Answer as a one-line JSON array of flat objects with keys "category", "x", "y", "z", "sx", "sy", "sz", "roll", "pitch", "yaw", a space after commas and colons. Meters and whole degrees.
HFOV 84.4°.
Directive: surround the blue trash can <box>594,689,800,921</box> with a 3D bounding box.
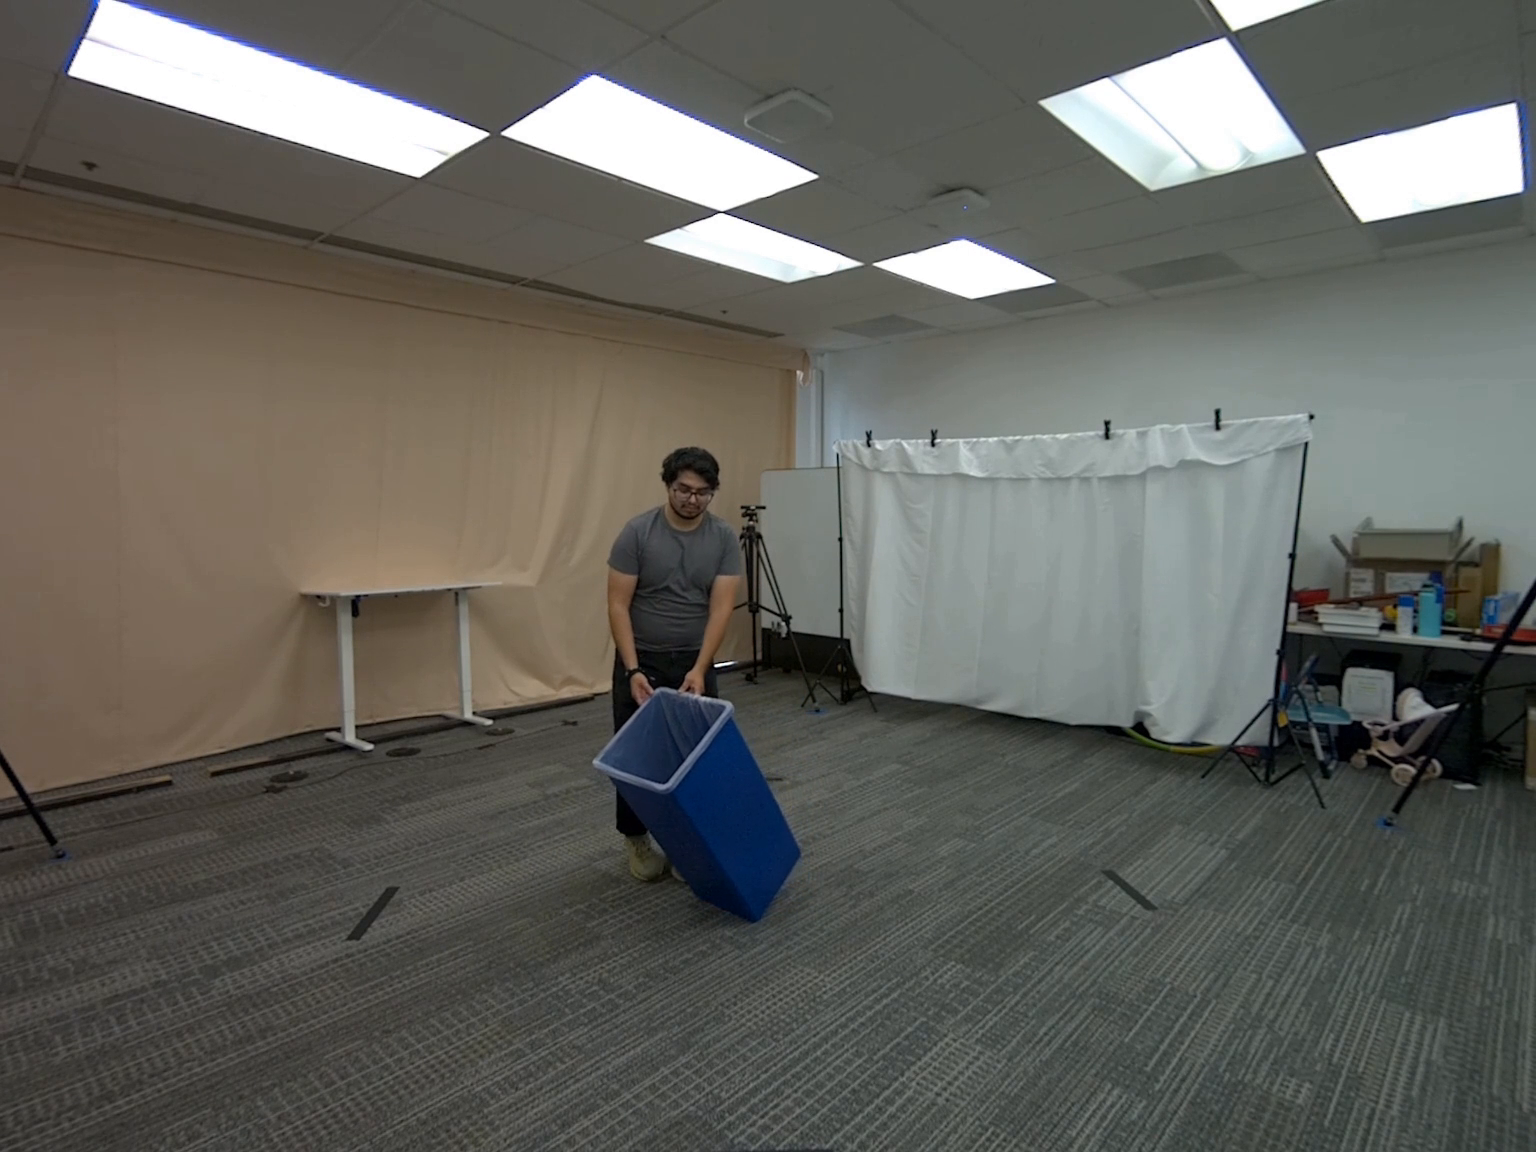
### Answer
[{"category": "blue trash can", "x": -0.196, "y": 0.781, "z": 2.827, "sx": 0.386, "sy": 0.696, "sz": 0.375, "roll": 2, "pitch": 38, "yaw": 43}]
